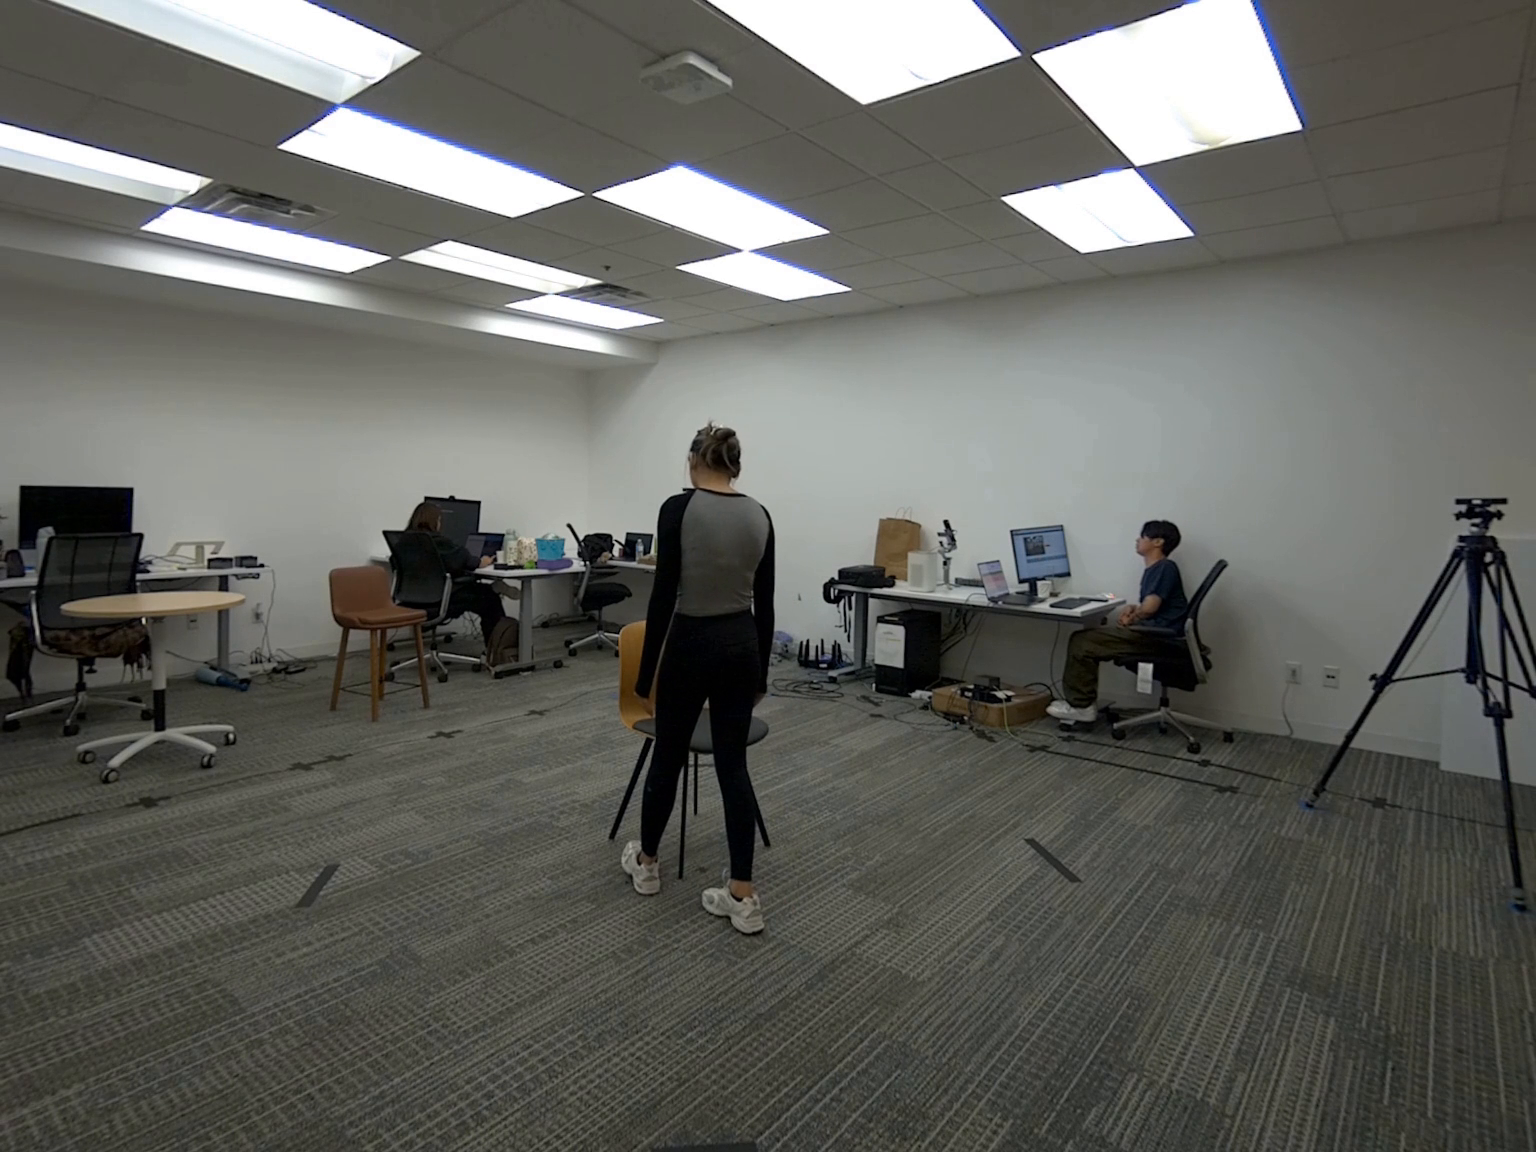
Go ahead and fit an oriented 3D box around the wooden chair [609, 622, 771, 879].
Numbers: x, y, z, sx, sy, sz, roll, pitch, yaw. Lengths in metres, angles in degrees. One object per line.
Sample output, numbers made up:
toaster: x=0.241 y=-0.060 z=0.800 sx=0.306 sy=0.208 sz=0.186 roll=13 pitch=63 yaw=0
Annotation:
wooden chair: x=-0.301 y=0.620 z=3.307 sx=0.463 sy=0.878 sz=0.539 roll=-1 pitch=0 yaw=-44
